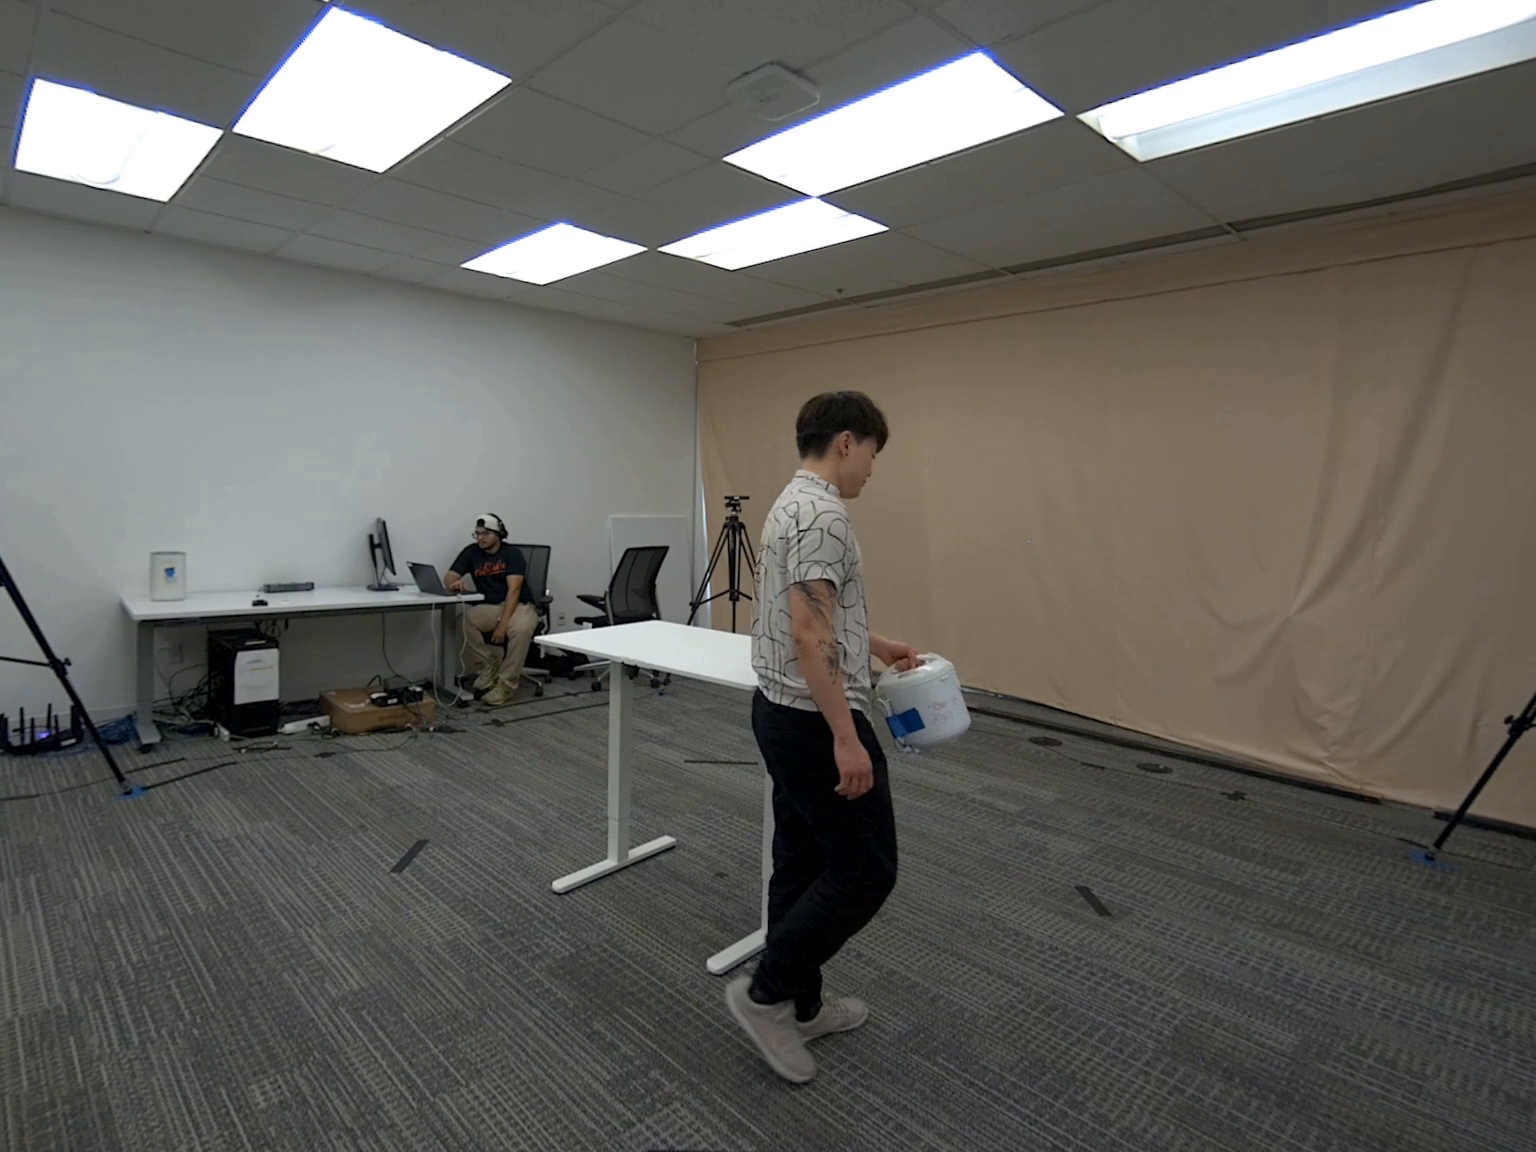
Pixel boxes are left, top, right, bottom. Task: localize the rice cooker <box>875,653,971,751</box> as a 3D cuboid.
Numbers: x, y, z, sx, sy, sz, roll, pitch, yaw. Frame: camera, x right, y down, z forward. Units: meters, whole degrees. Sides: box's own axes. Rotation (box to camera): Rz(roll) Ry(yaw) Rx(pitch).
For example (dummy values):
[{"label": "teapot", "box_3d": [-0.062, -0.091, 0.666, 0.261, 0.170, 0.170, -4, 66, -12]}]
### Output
[{"label": "rice cooker", "box_3d": [0.403, 0.331, 2.249, 0.222, 0.234, 0.215, -20, -3, 15]}]
